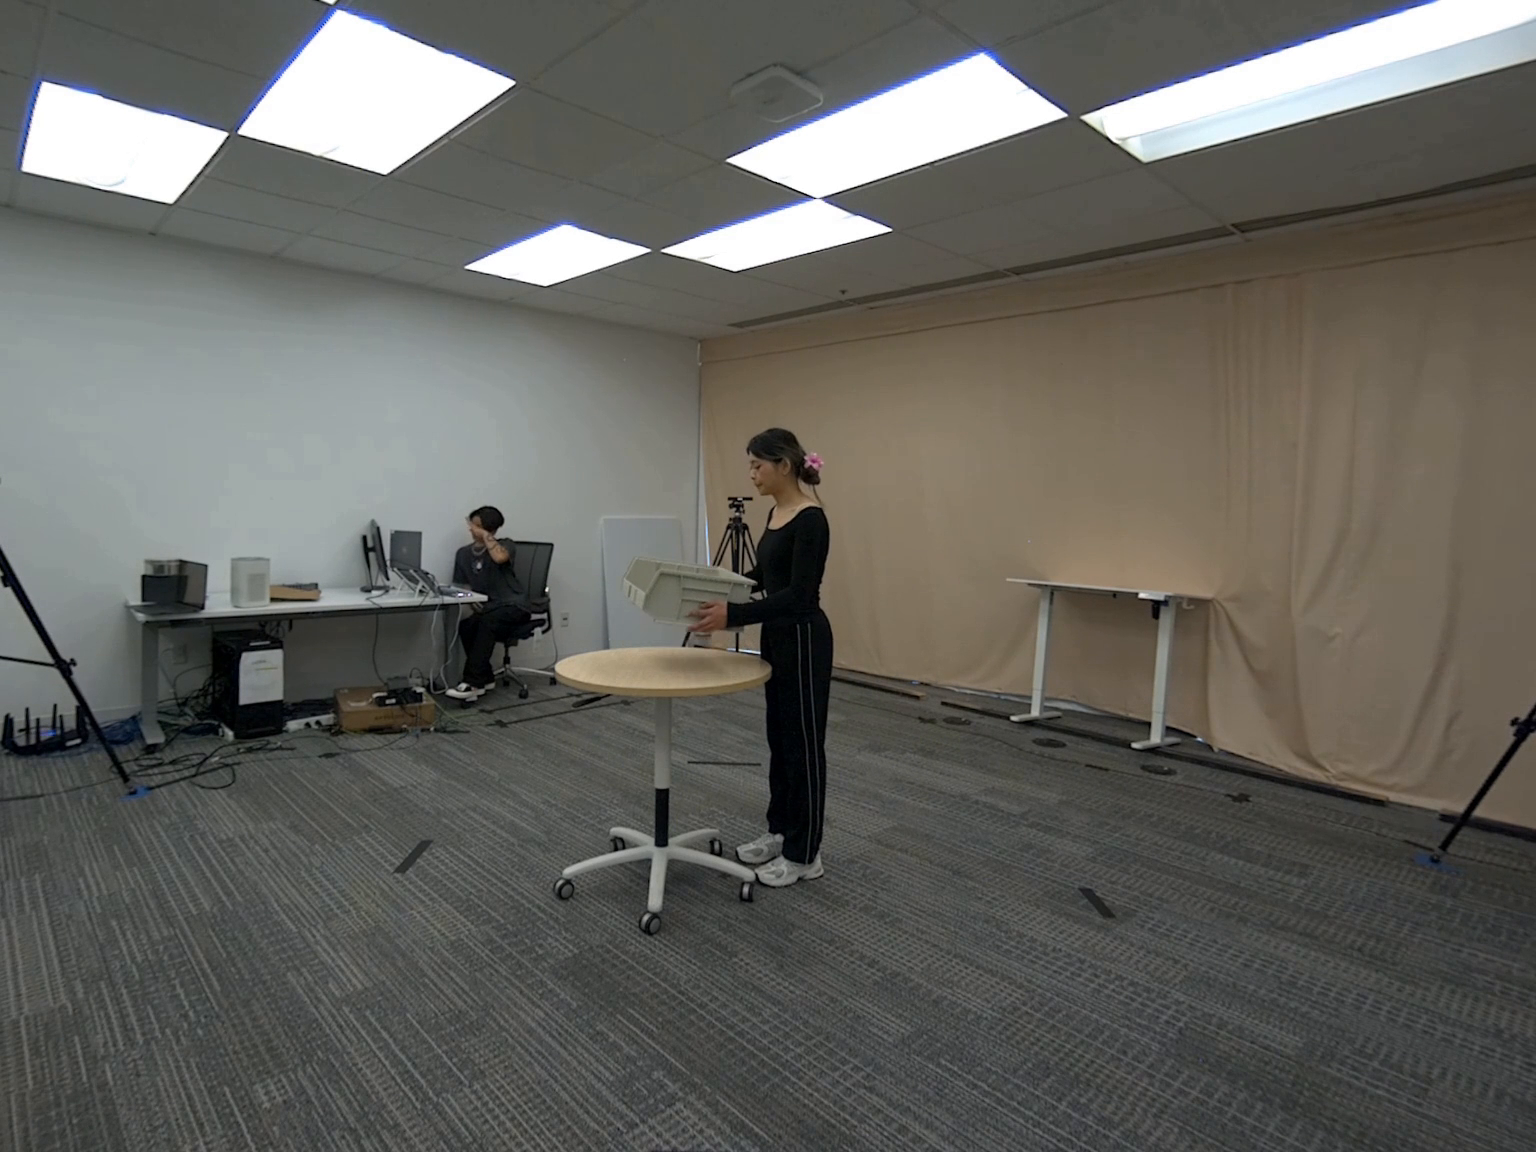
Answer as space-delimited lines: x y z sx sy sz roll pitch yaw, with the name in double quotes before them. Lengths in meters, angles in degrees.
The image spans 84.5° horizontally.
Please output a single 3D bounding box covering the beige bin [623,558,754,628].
"beige bin" -0.306 0.062 2.984 0.371 0.188 0.430 9 4 -20
